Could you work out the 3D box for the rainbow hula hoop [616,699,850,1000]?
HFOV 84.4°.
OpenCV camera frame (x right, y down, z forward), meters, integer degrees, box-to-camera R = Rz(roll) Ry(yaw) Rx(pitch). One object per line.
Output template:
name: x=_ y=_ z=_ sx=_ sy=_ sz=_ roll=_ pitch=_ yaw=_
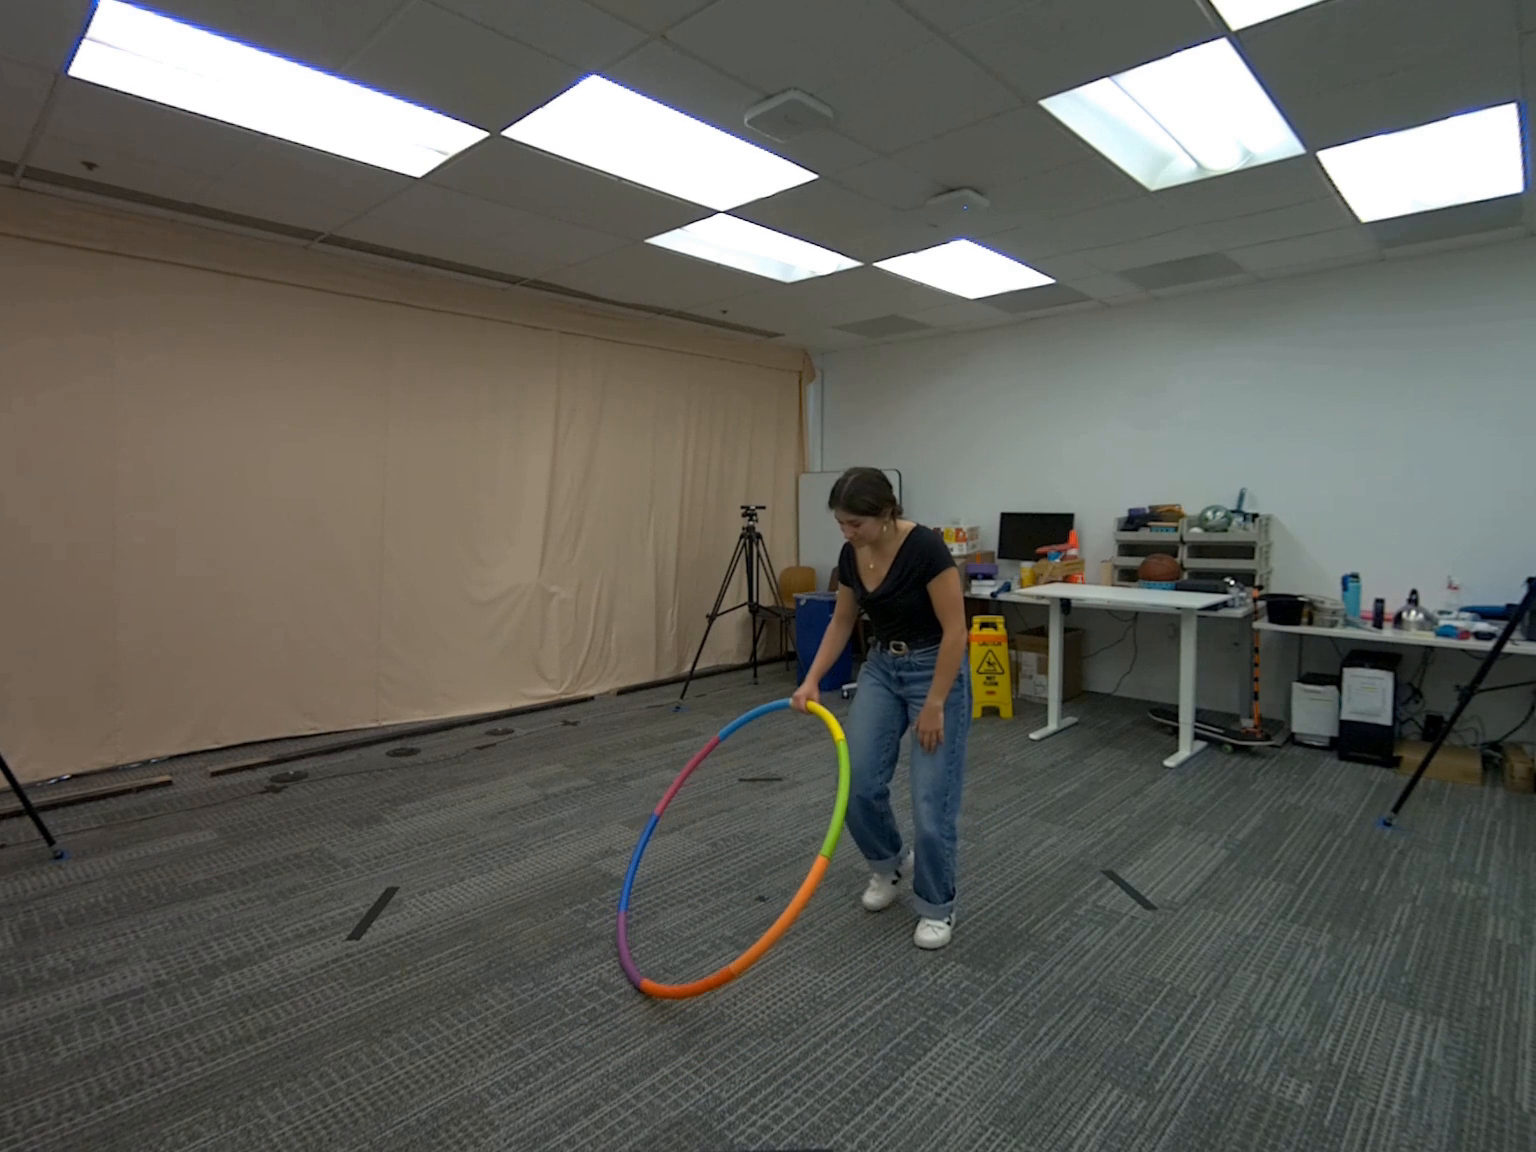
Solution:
rainbow hula hoop: x=-0.123 y=0.804 z=2.611 sx=0.035 sy=0.976 sz=1.004 roll=43 pitch=-14 yaw=-23
